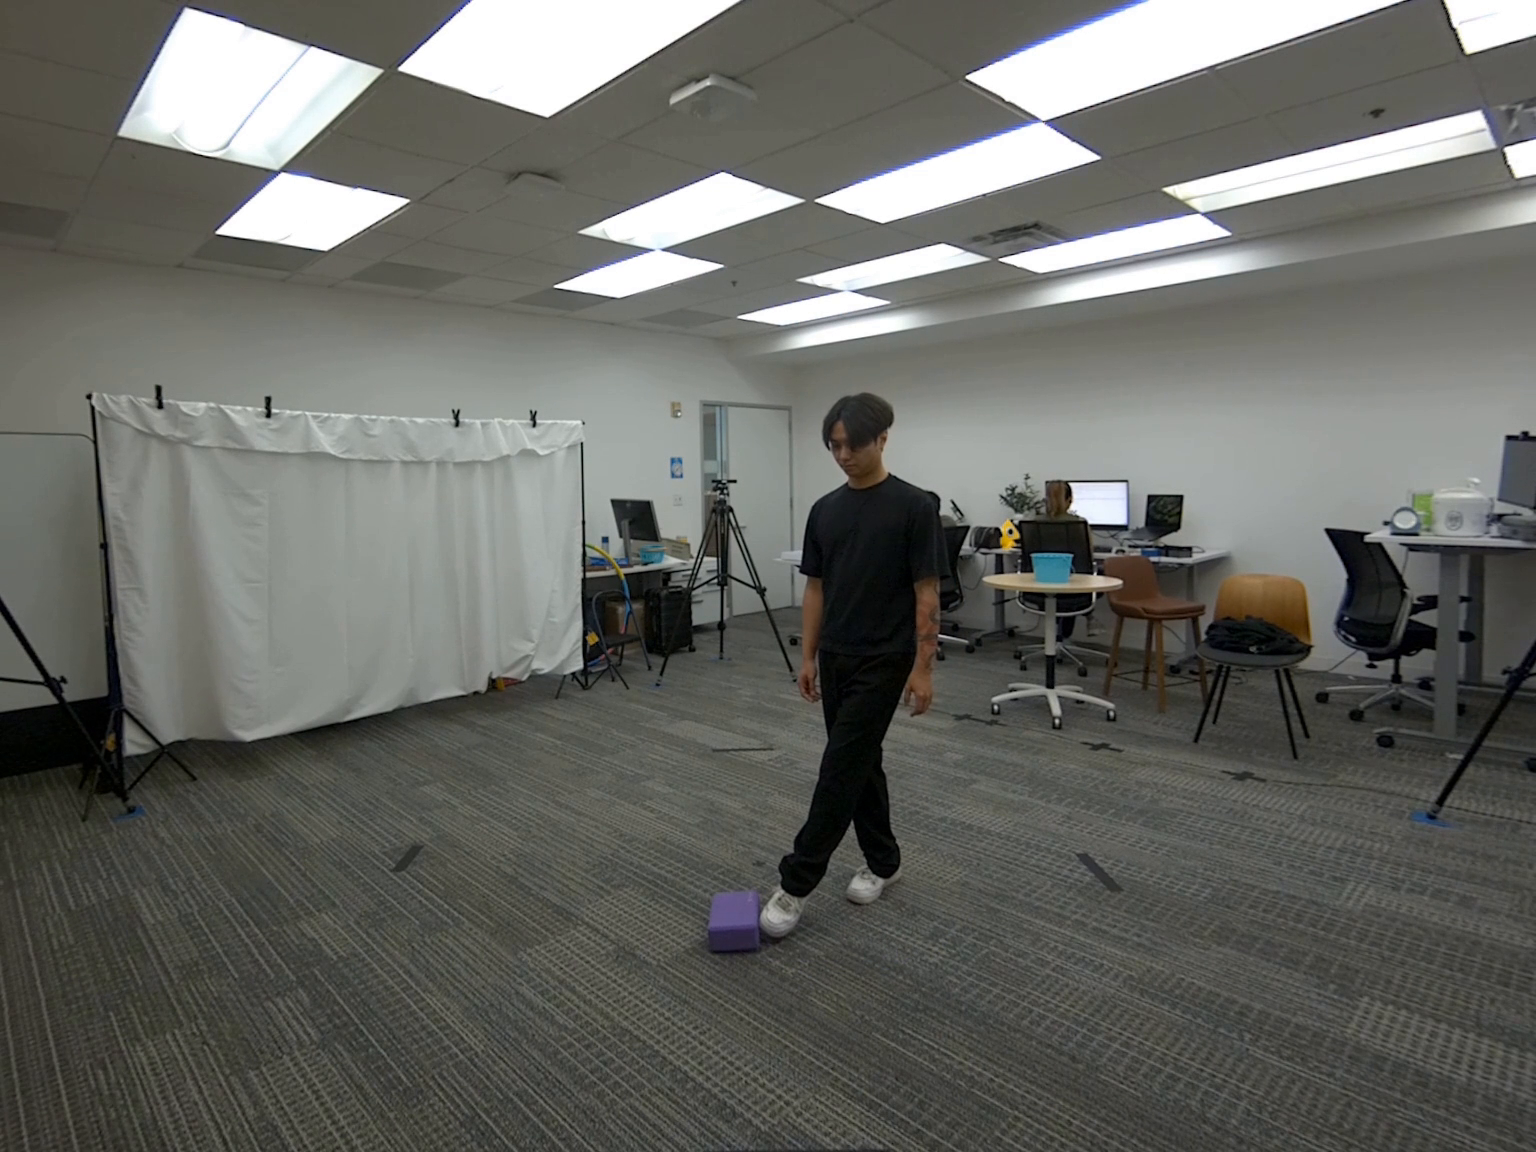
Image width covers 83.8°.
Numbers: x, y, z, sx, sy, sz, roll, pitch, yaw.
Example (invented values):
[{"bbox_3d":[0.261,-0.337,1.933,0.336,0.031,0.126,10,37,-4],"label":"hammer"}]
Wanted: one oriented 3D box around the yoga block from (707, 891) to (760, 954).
[{"bbox_3d":[-0.092,1.058,2.626,0.149,0.076,0.229,-4,5,1],"label":"yoga block"}]
